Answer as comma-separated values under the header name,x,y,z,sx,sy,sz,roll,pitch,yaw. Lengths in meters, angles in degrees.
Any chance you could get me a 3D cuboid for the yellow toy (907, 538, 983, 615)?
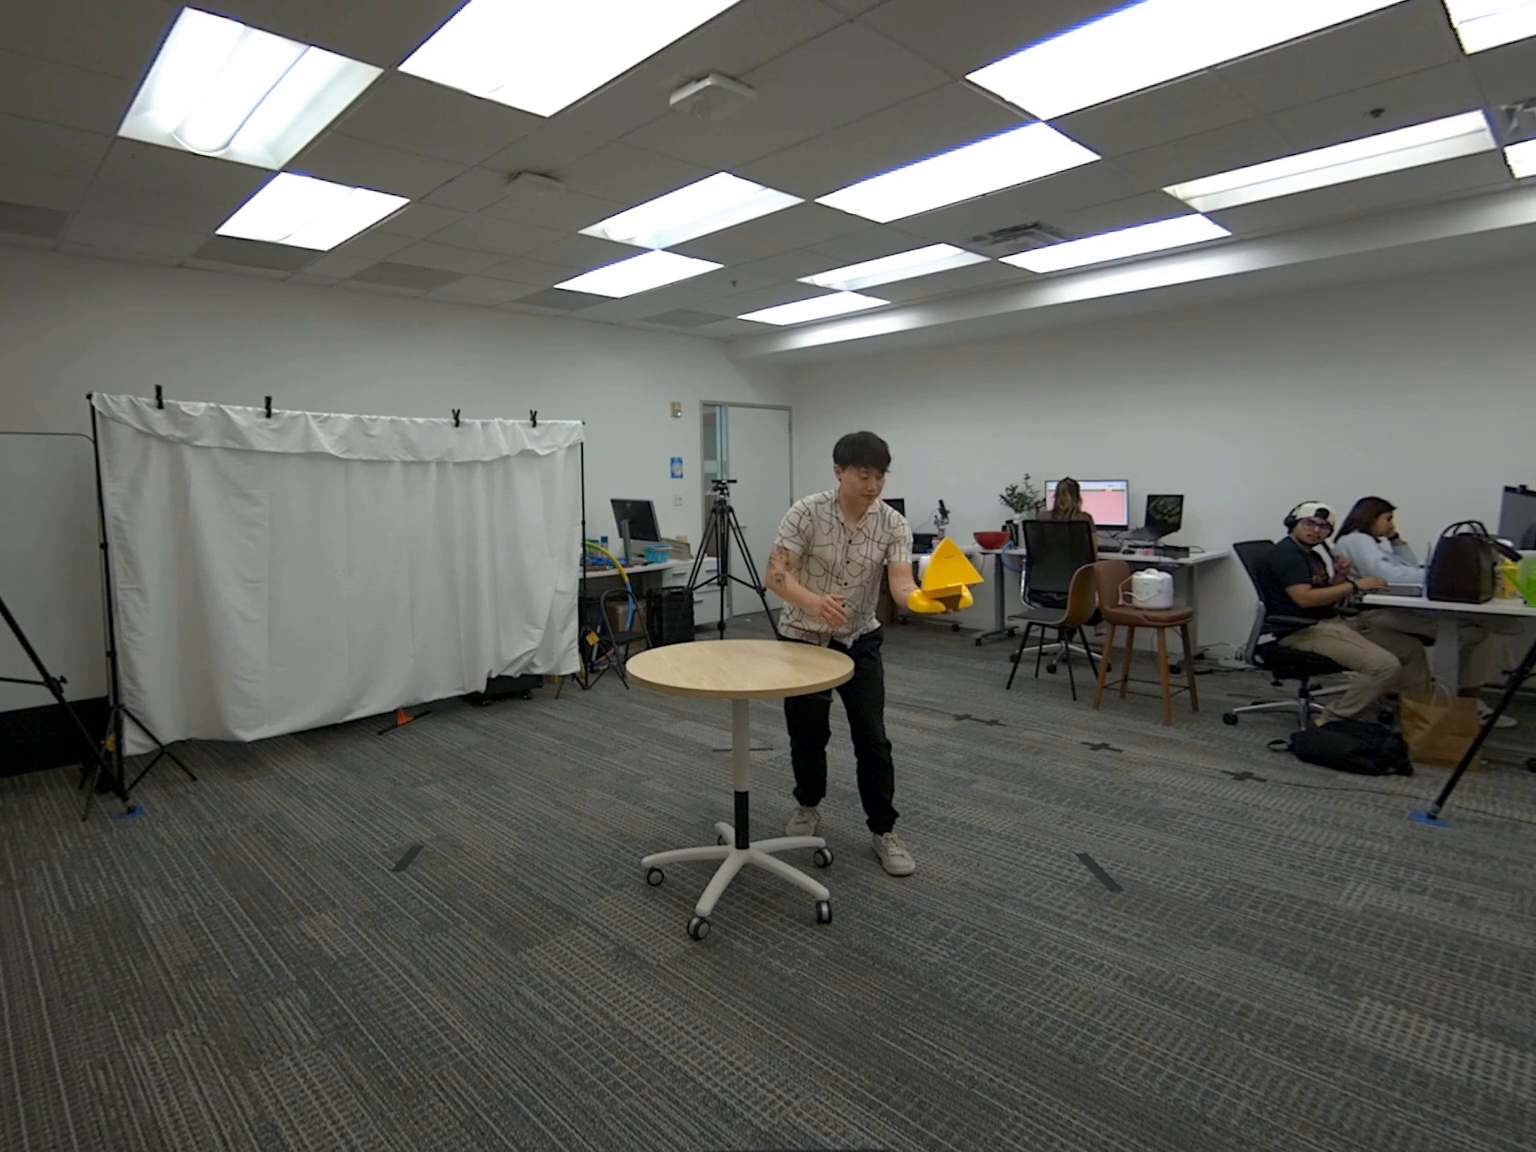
name,x,y,z,sx,sy,sz,roll,pitch,yaw
yellow toy,0.551,-0.019,2.733,0.202,0.229,0.197,-8,9,-14
